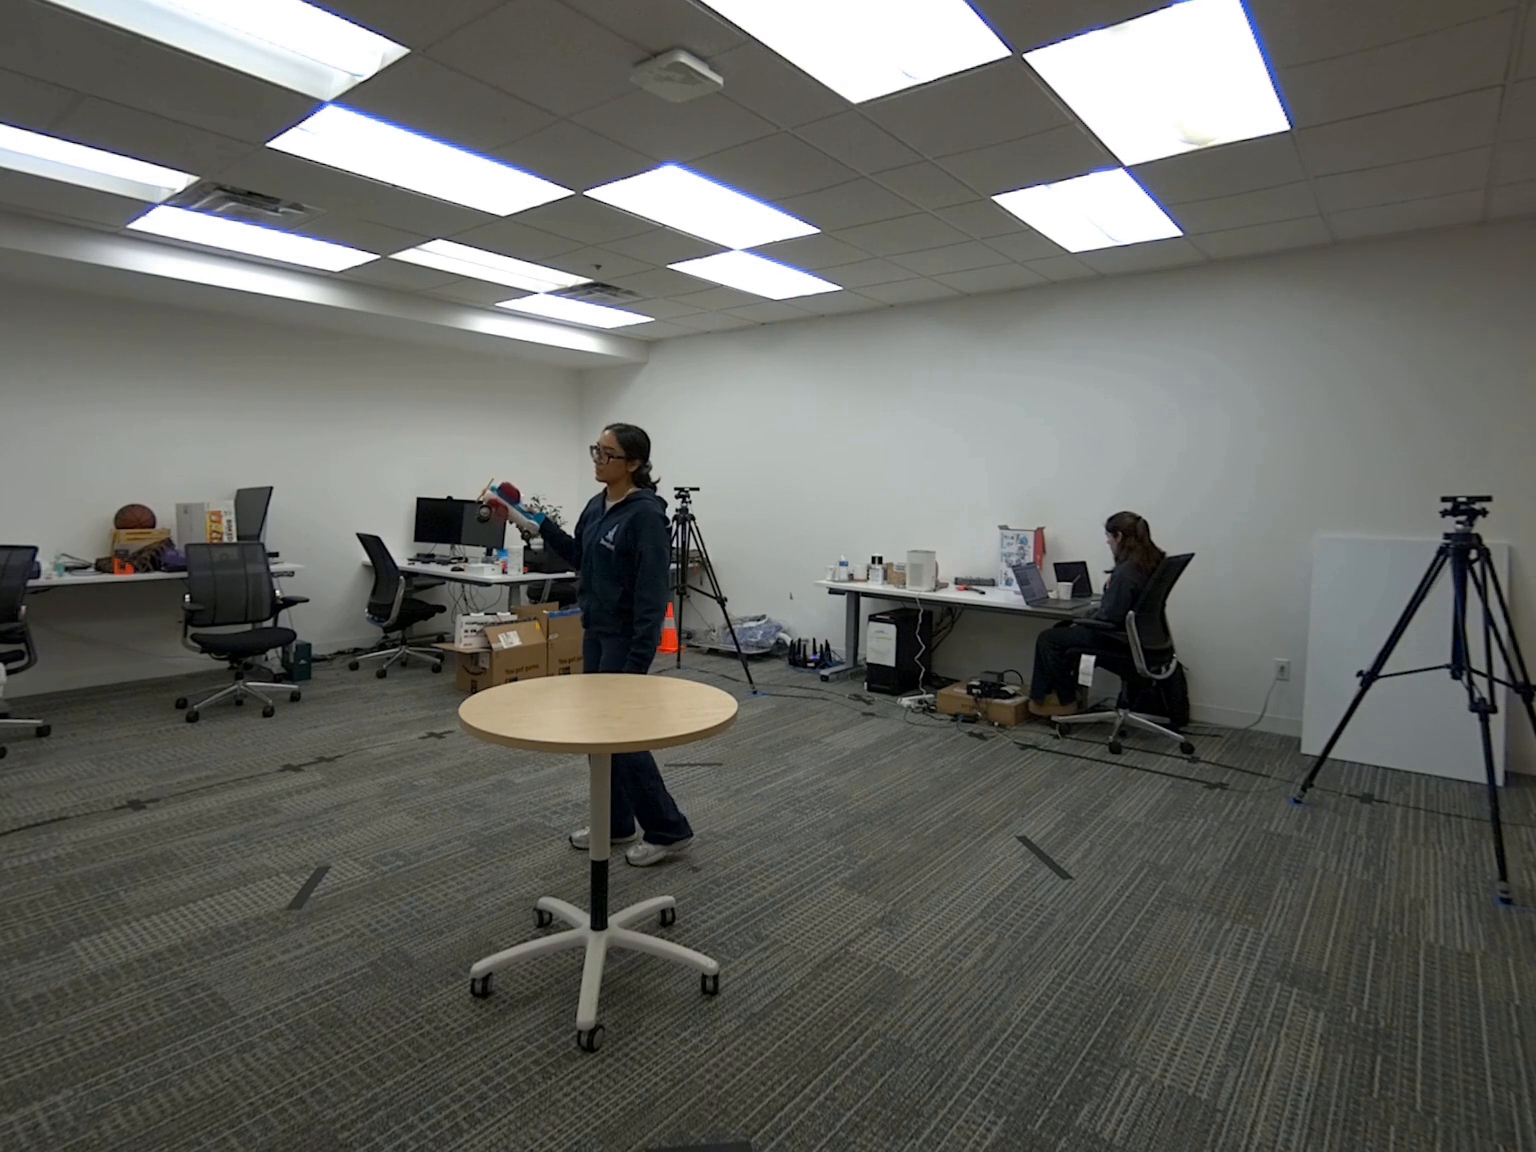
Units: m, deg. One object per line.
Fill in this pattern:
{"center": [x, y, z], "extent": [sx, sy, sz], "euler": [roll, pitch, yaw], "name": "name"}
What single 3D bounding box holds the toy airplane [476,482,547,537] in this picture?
{"center": [-1.024, -0.244, 3.314], "extent": [0.259, 0.158, 0.248], "euler": [-2, -29, 43], "name": "toy airplane"}
